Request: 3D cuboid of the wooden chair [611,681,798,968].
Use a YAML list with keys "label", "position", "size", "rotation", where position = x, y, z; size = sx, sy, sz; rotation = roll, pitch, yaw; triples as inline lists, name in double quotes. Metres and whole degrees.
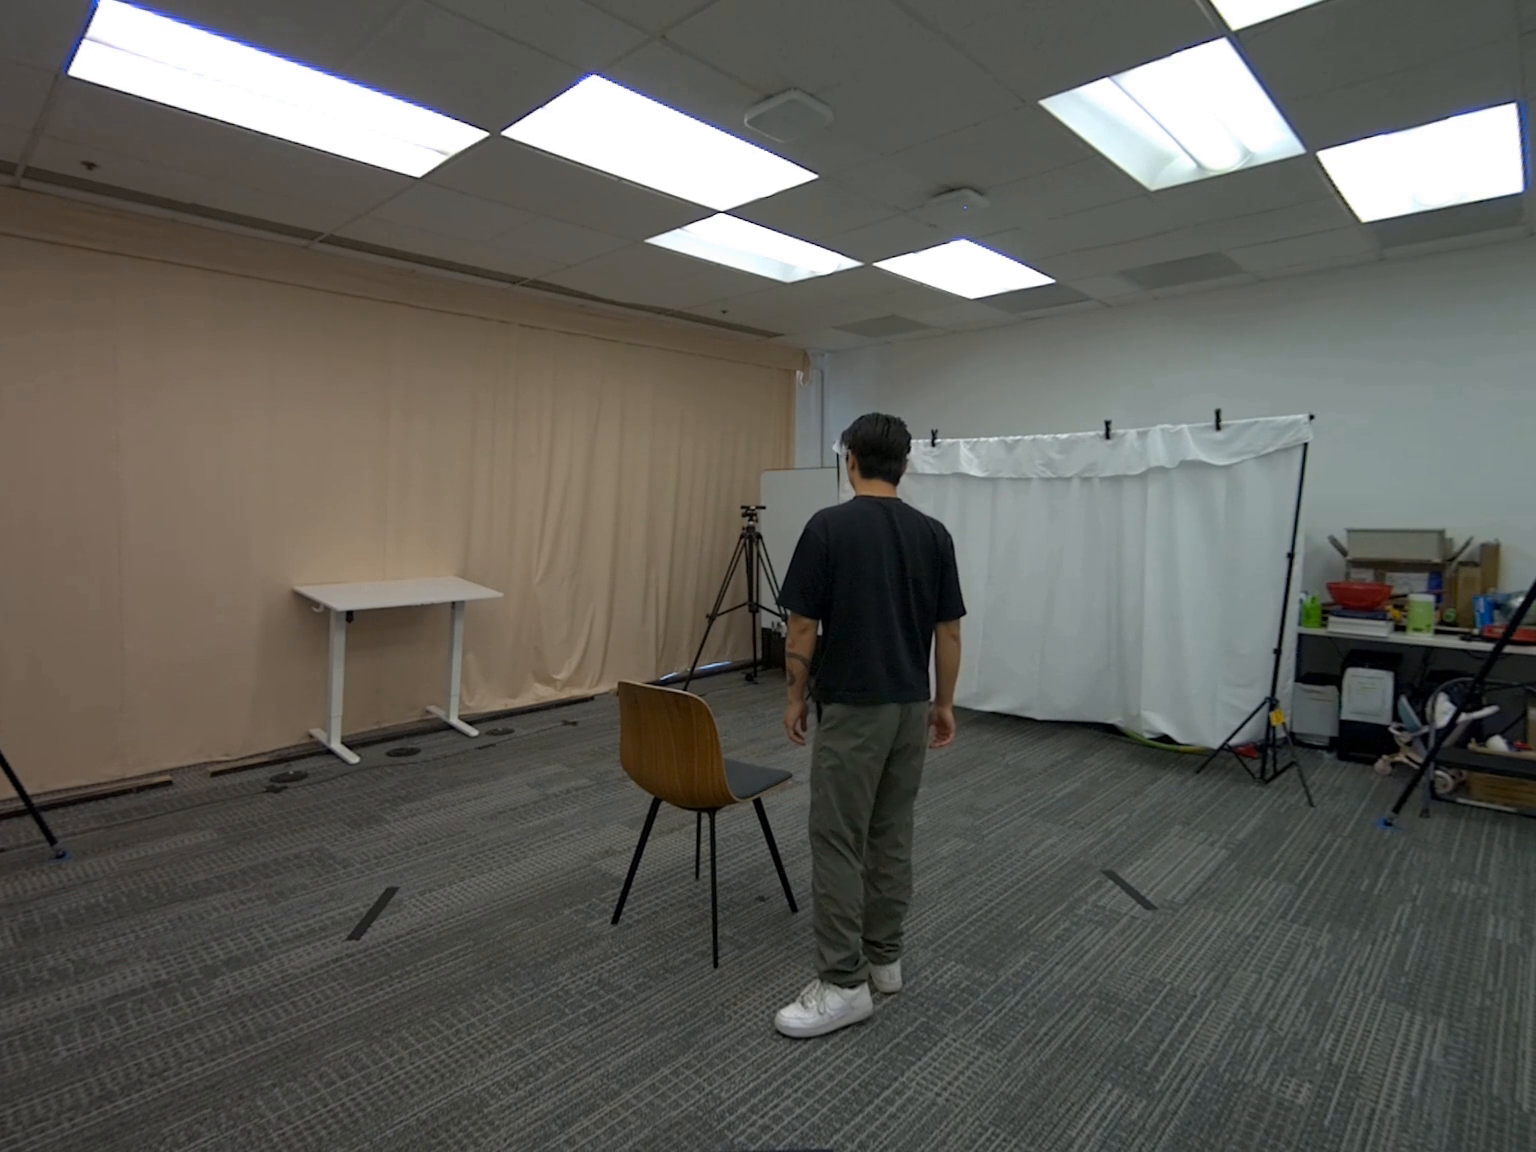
- label: "wooden chair"
  position: [-0.206, 0.731, 2.826]
  size: [0.493, 0.873, 0.509]
  rotation: [2, 8, 37]
